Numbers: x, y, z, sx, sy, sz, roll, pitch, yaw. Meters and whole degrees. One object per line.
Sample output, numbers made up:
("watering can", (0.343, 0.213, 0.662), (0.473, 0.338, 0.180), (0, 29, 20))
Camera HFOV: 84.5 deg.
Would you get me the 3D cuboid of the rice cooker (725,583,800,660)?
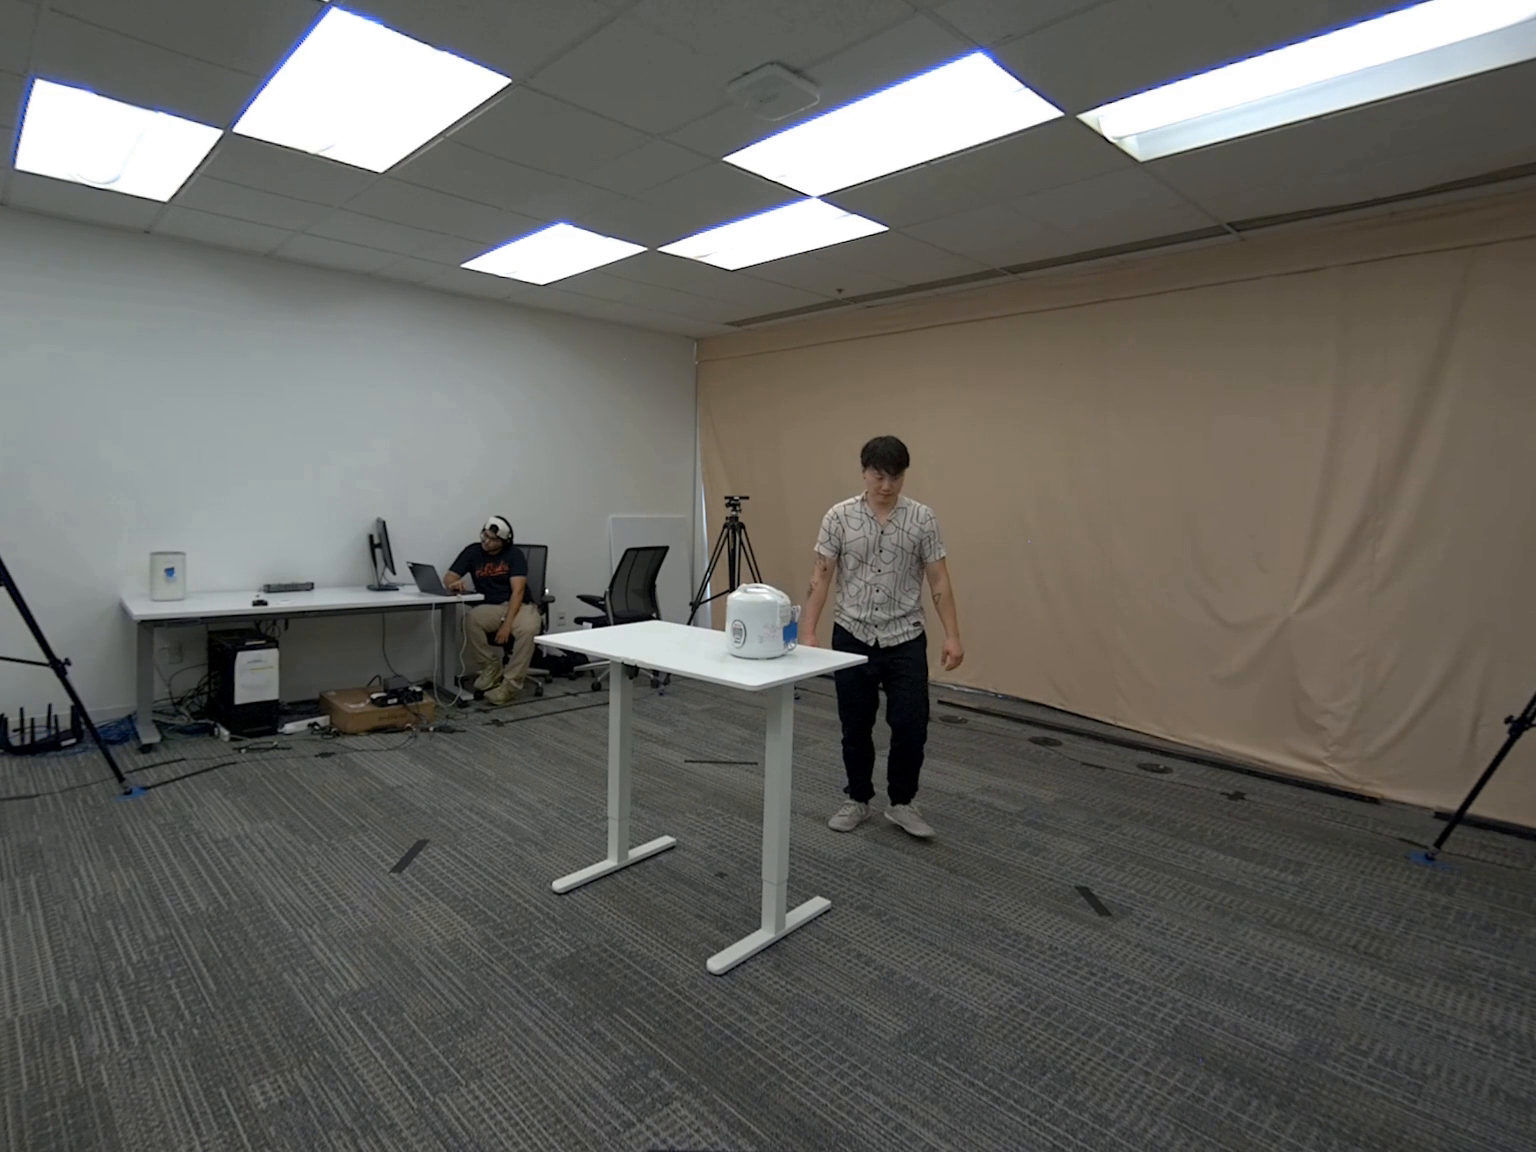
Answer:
("rice cooker", (-0.034, 0.142, 2.729), (0.226, 0.232, 0.212), (4, 3, 35))
